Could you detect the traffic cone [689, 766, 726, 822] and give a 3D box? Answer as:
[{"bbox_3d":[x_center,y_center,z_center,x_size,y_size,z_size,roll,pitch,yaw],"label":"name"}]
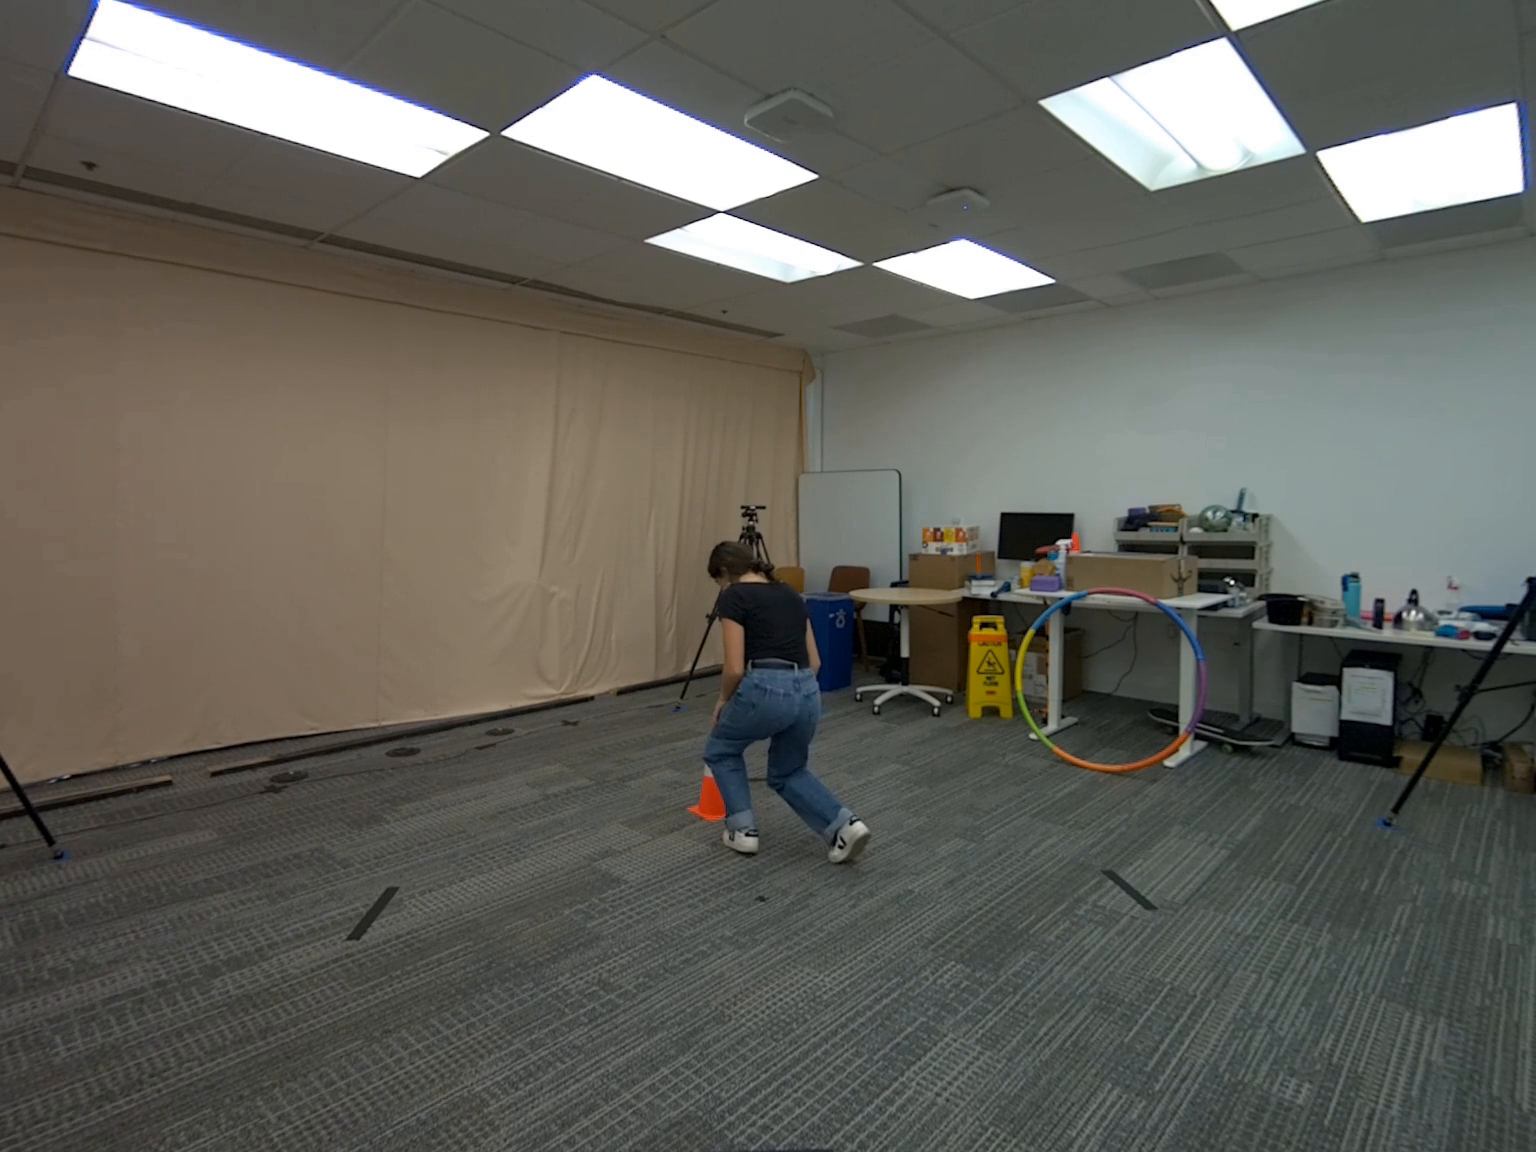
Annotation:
[{"bbox_3d":[-0.236,0.888,3.854,0.199,0.383,0.209,-1,3,-32],"label":"traffic cone"}]
